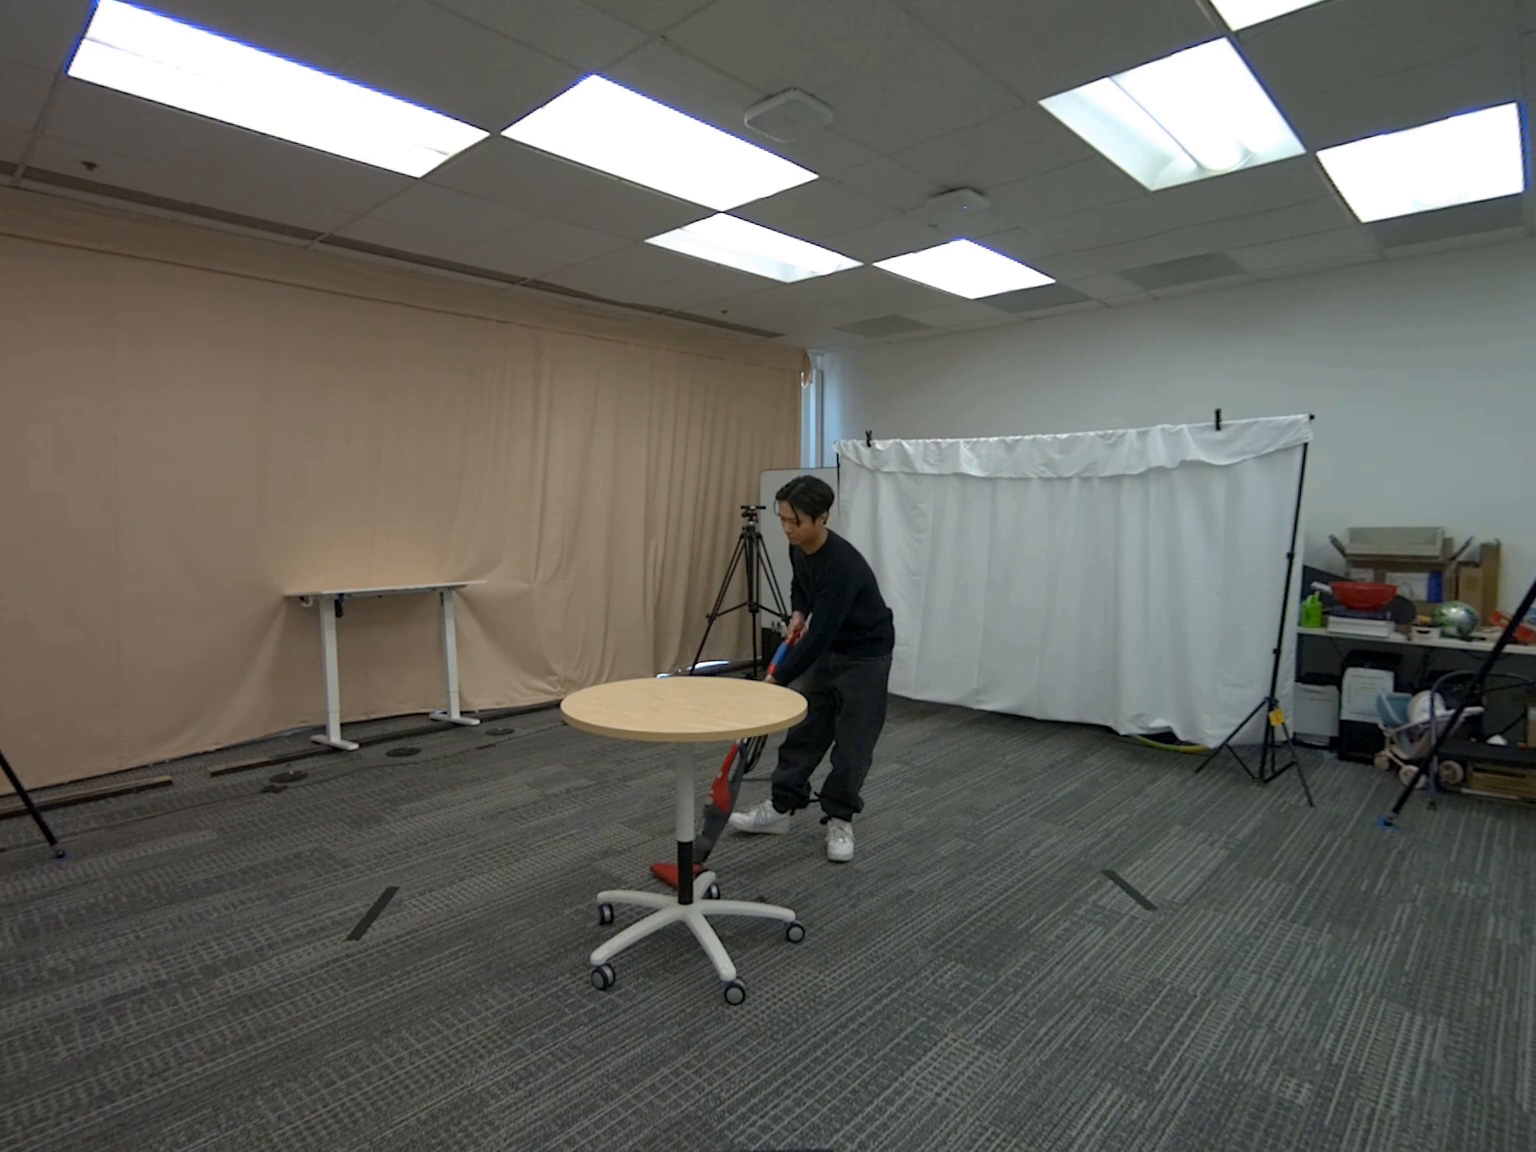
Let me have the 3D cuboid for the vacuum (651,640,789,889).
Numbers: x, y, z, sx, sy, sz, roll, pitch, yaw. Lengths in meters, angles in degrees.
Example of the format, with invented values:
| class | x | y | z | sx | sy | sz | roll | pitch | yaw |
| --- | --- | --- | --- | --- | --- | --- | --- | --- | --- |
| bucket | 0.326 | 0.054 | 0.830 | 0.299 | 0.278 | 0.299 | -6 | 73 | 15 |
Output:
| class | x | y | z | sx | sy | sz | roll | pitch | yaw |
| --- | --- | --- | --- | --- | --- | --- | --- | --- | --- |
| vacuum | -0.092 | 0.675 | 3.267 | 0.261 | 1.050 | 0.139 | 10 | -22 | 46 |
